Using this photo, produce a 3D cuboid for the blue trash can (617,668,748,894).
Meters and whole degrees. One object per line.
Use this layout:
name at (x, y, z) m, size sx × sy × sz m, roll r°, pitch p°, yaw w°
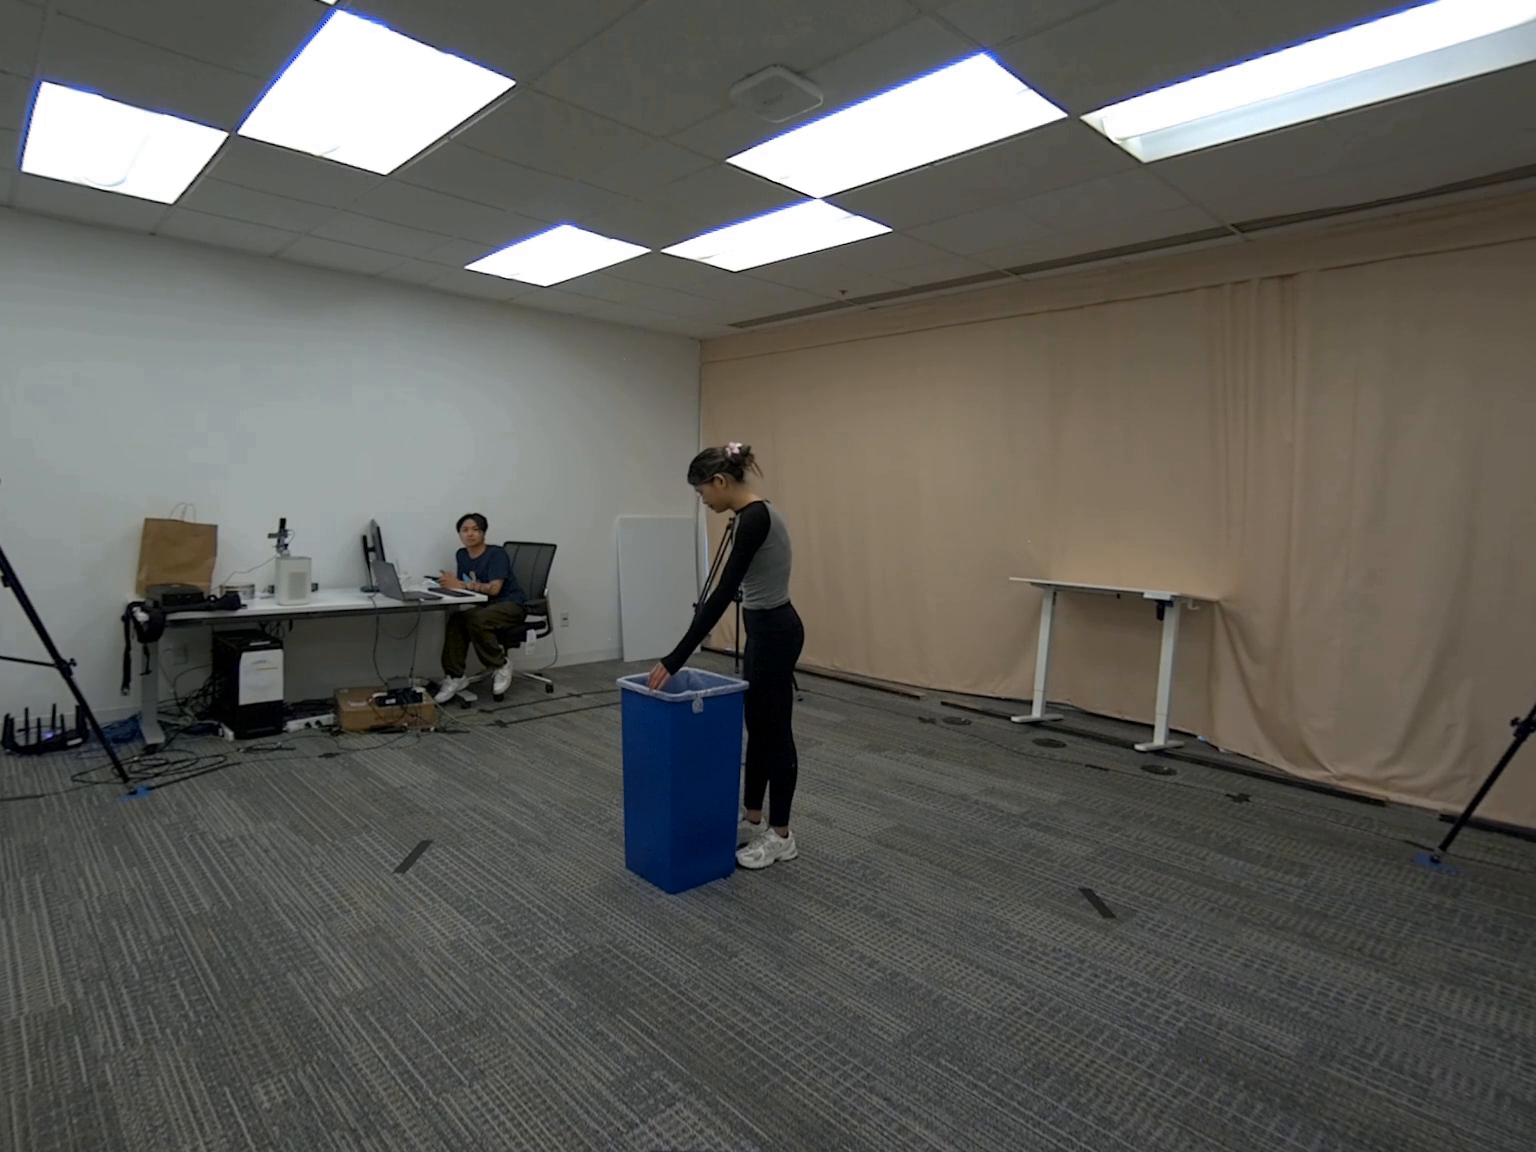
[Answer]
blue trash can at (-0.337, 0.742, 3.133) m, size 0.369 × 0.712 × 0.384 m, roll -1°, pitch 5°, yaw -42°
